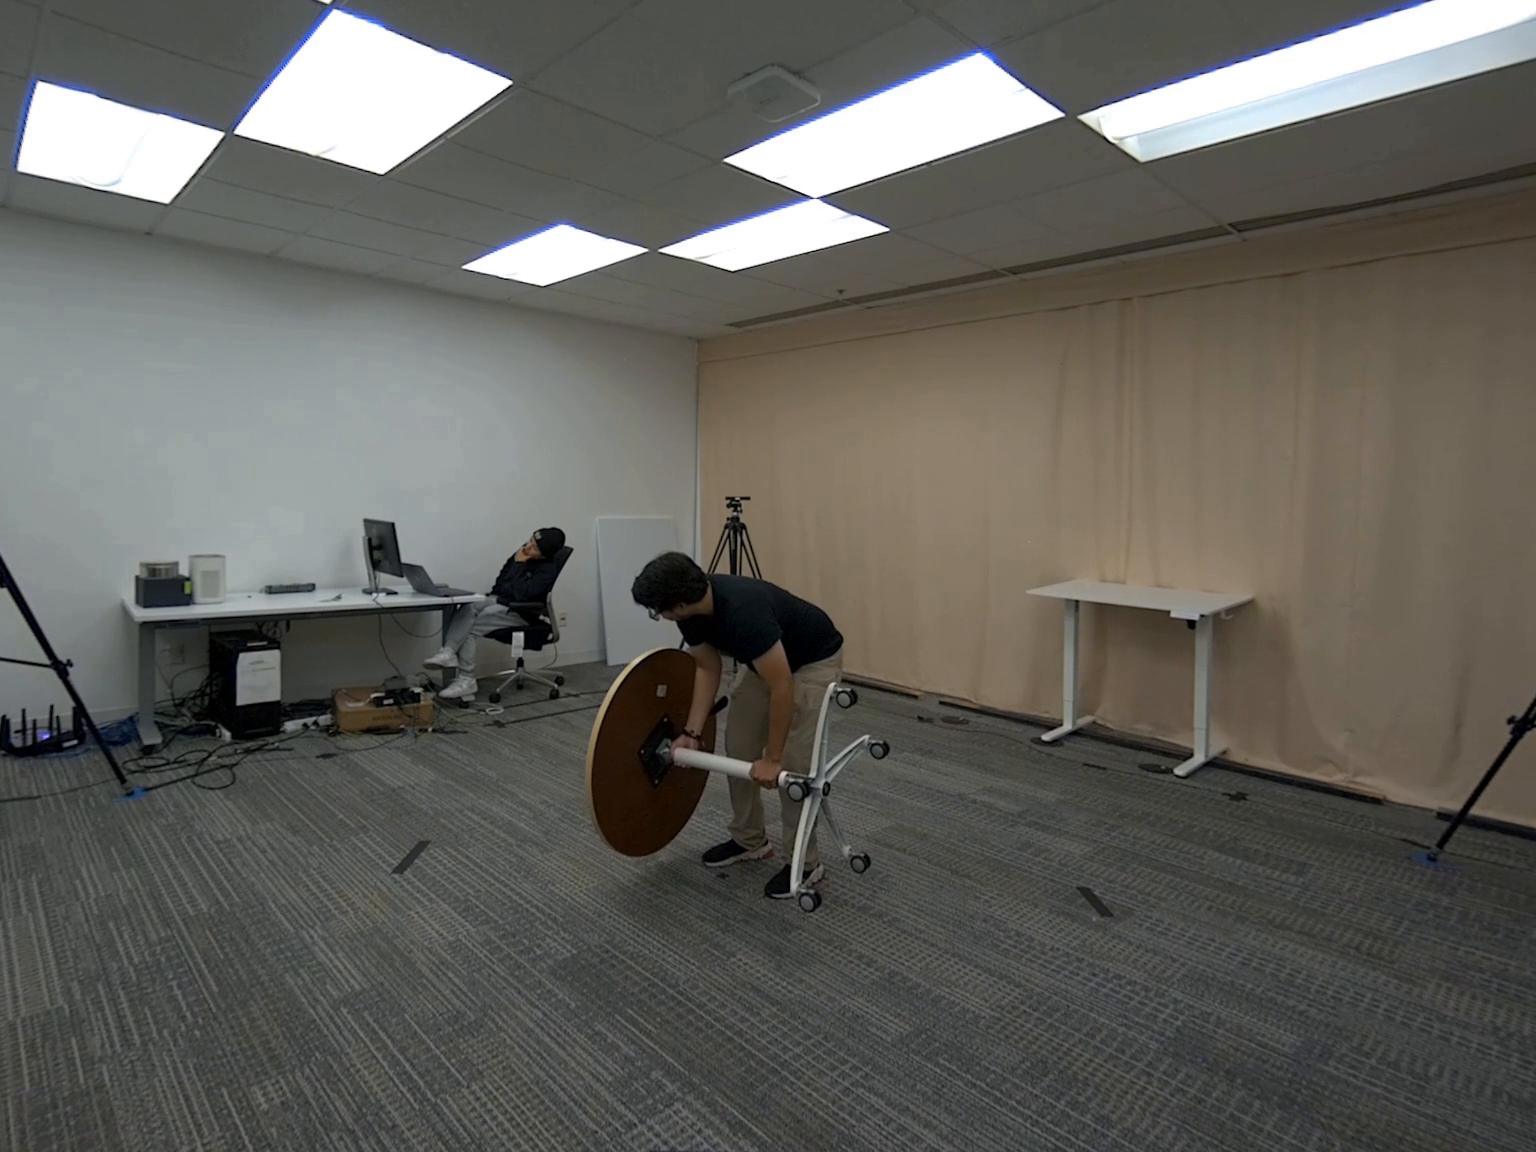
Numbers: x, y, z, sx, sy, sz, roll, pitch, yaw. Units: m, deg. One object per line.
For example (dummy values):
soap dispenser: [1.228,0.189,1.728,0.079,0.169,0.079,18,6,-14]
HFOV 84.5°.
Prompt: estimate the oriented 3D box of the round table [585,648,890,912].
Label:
round table: [-0.086,0.678,2.935,0.804,0.783,0.770,4,5,31]
